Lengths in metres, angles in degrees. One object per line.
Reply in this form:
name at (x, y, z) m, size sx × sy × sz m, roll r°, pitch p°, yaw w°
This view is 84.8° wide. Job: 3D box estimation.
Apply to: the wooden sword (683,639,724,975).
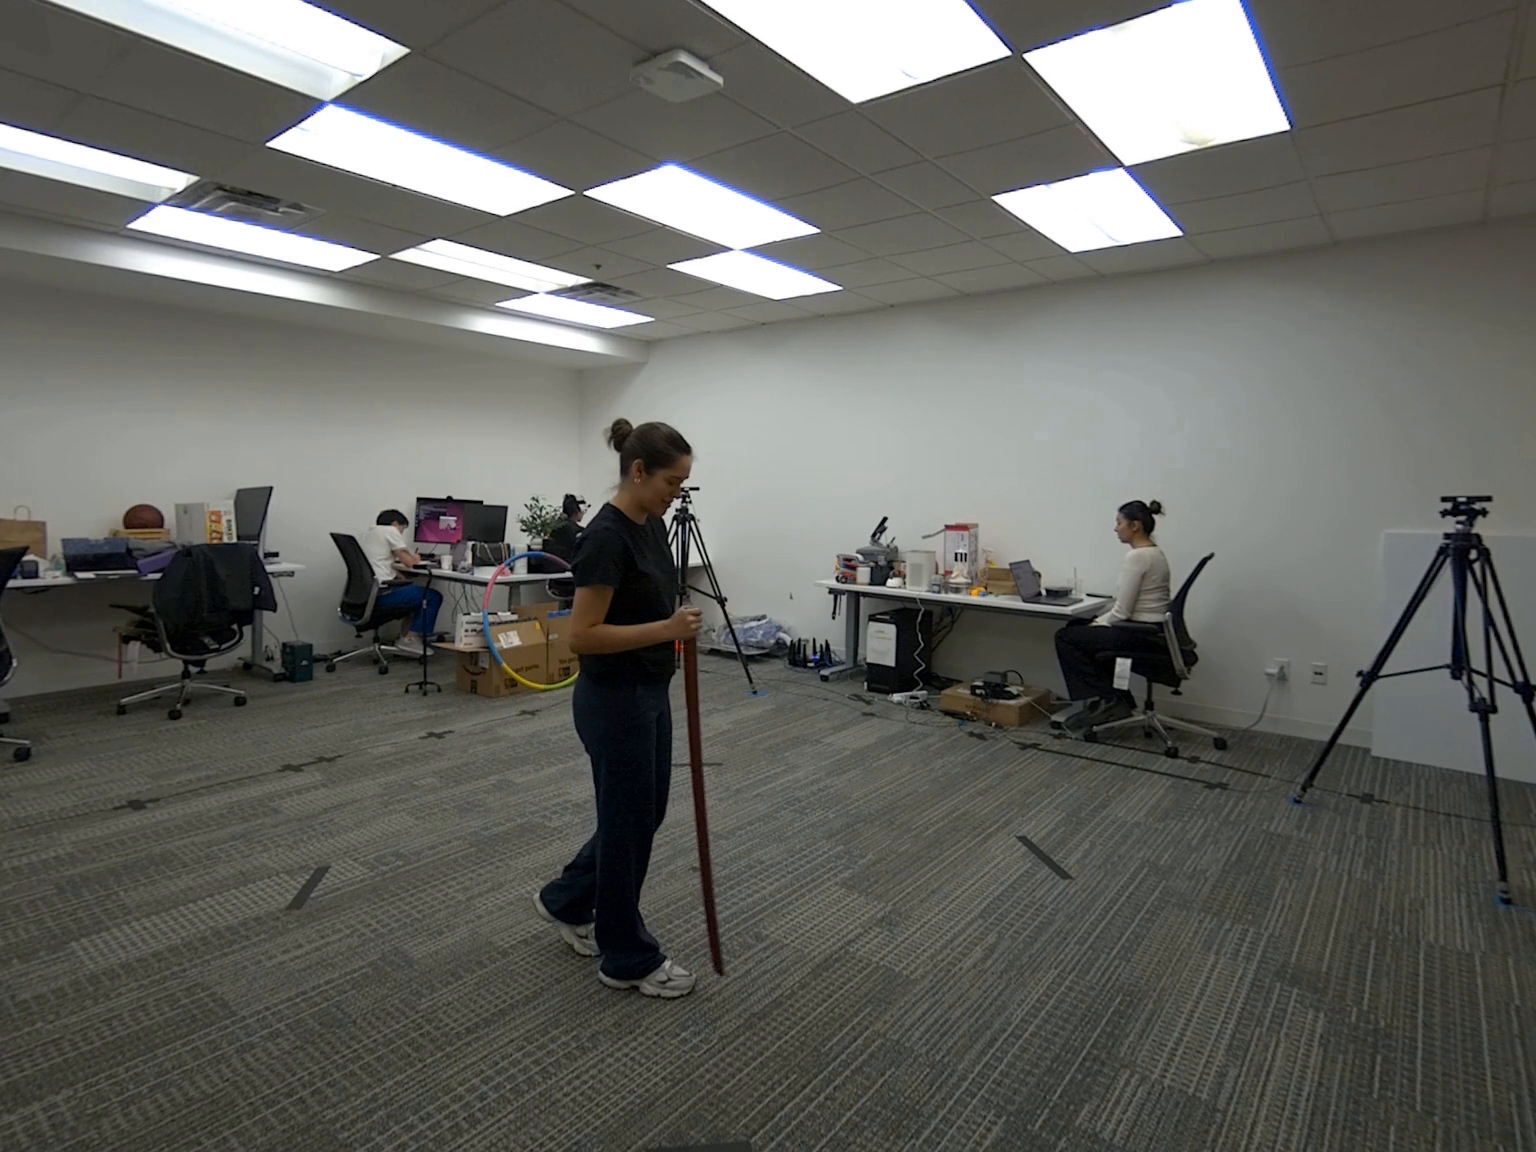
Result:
wooden sword at (-0.199, 0.634, 2.289) m, size 0.050 × 1.017 × 0.024 m, roll -7°, pitch 8°, yaw -17°
